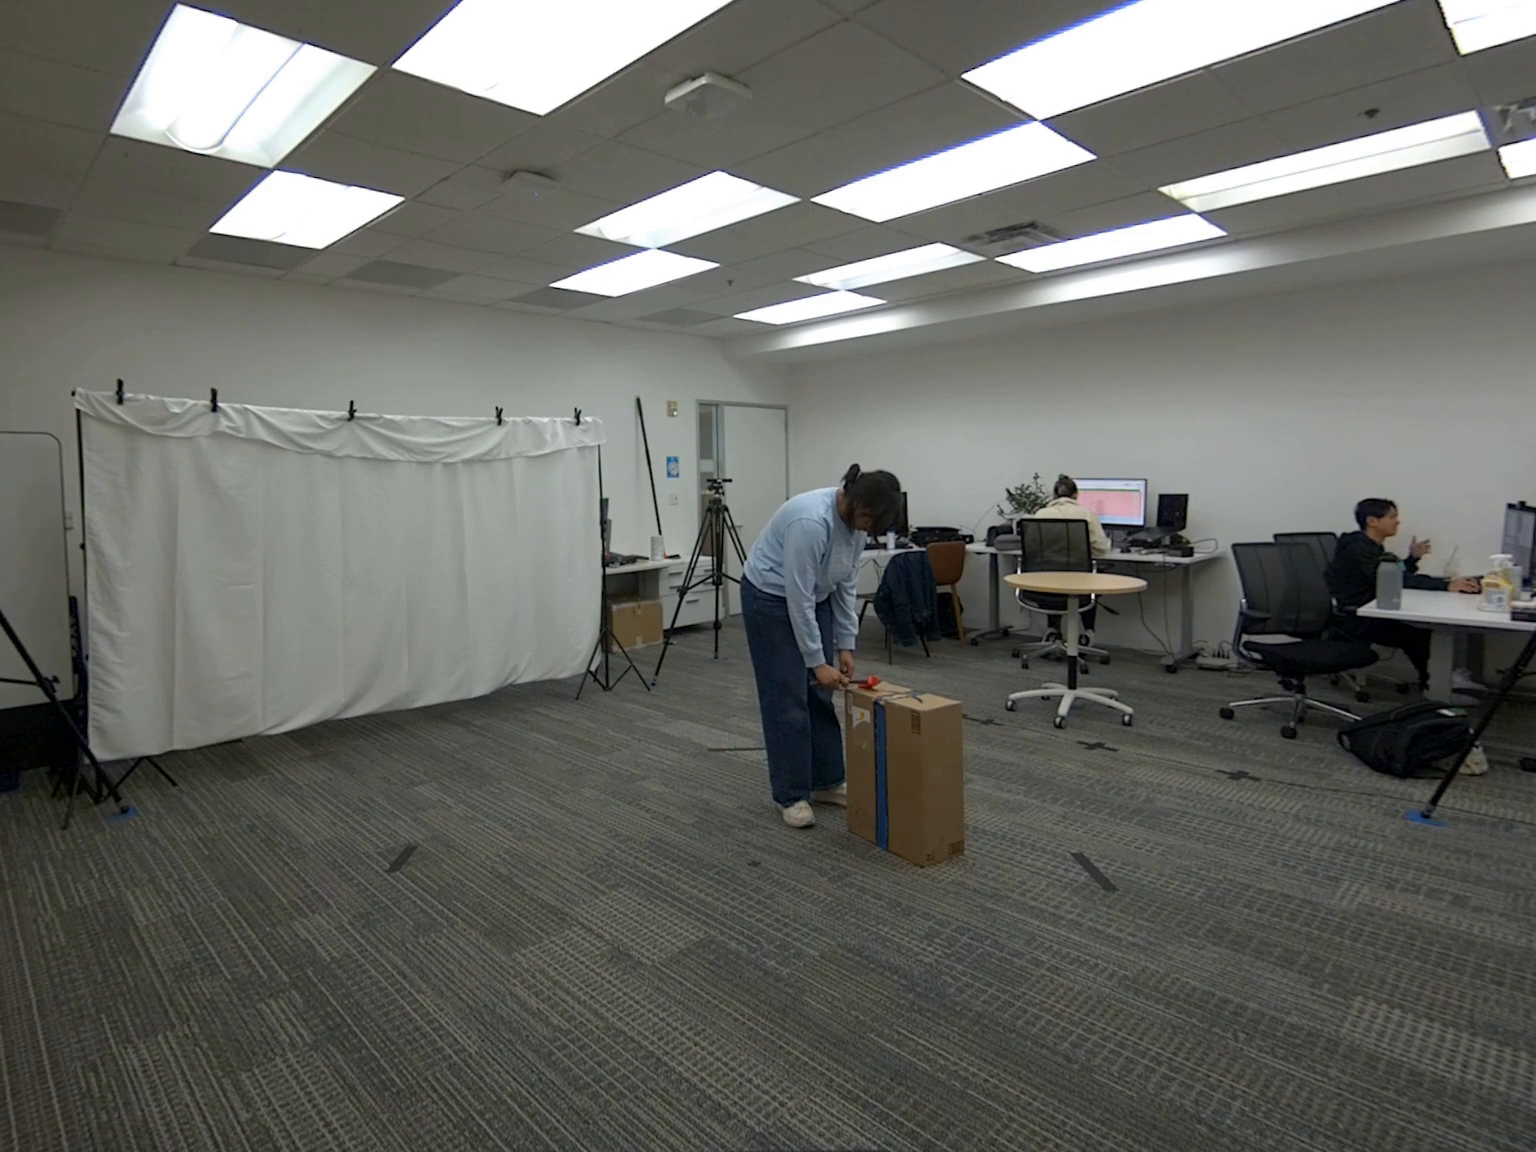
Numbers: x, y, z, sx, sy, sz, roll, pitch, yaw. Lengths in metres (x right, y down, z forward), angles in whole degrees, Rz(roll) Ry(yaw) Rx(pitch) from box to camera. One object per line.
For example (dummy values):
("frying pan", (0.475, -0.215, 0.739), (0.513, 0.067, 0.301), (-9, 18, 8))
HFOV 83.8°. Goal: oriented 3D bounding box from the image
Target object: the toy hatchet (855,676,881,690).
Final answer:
("toy hatchet", (0.316, 0.427, 3.389), (0.275, 0.030, 0.126), (-8, -21, 22))
